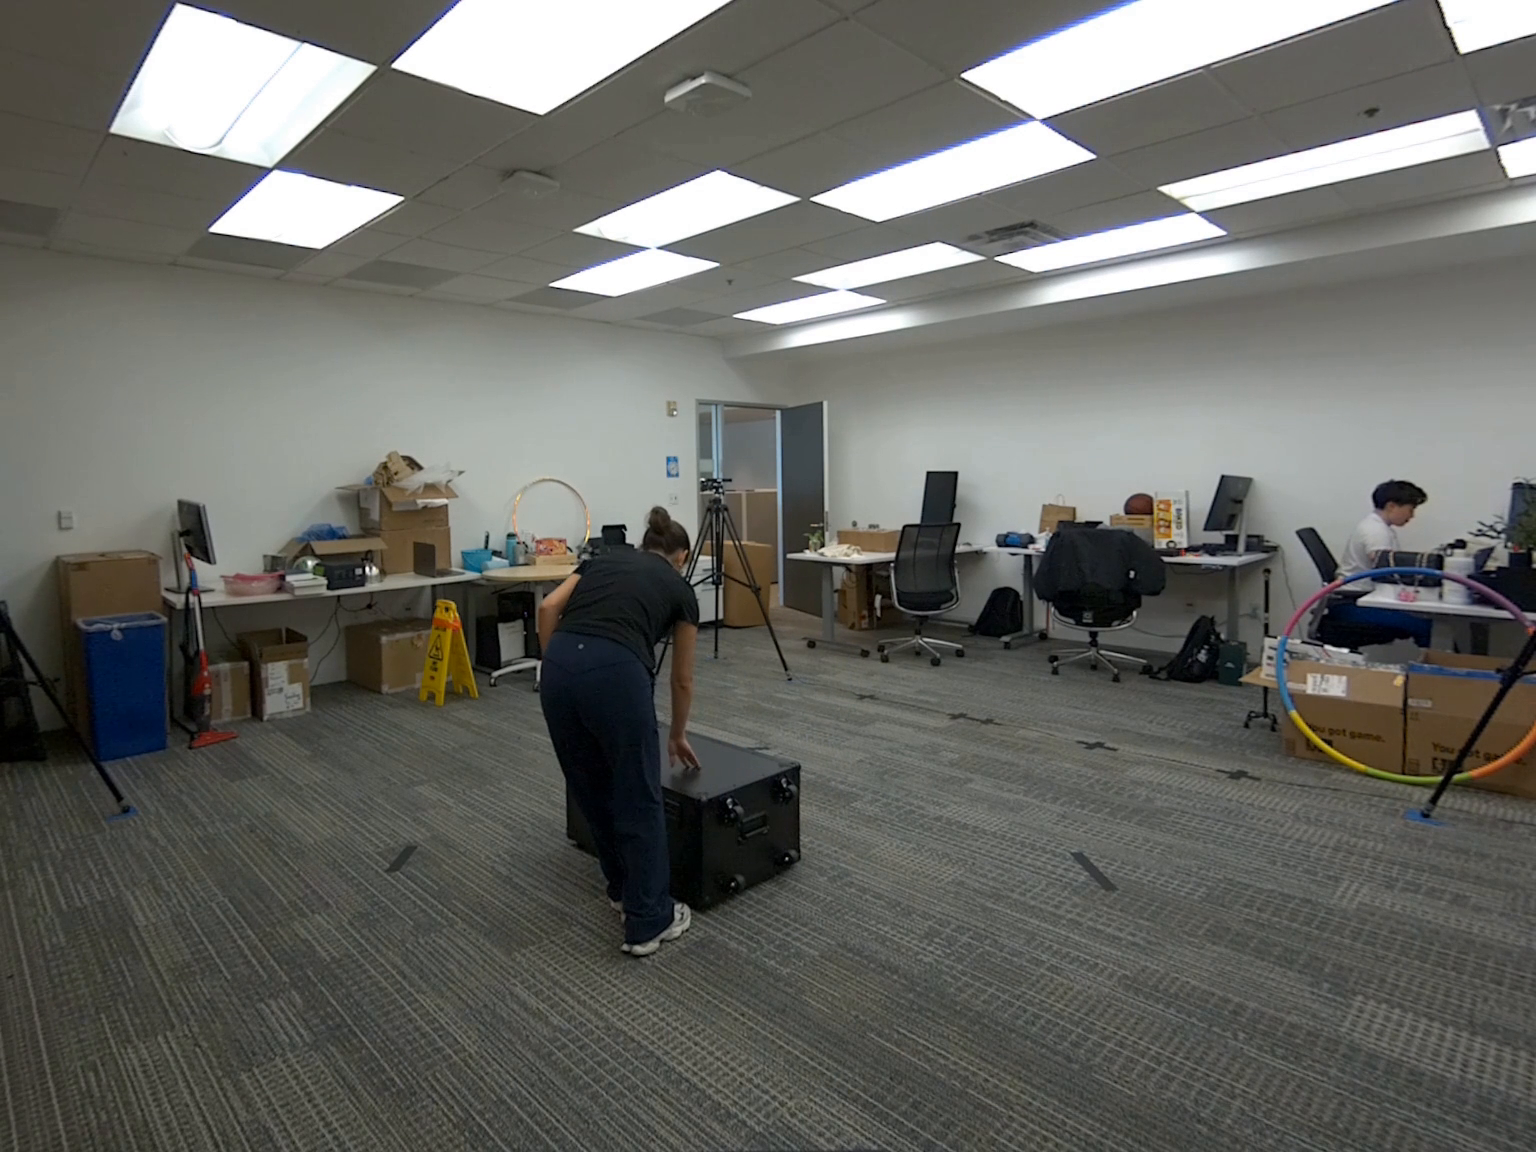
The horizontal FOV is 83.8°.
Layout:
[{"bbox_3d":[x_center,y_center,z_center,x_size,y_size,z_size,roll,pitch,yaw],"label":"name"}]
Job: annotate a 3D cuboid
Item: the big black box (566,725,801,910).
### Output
[{"bbox_3d":[-0.306,0.833,3.166,0.889,0.394,0.508,6,9,44],"label":"big black box"}]
